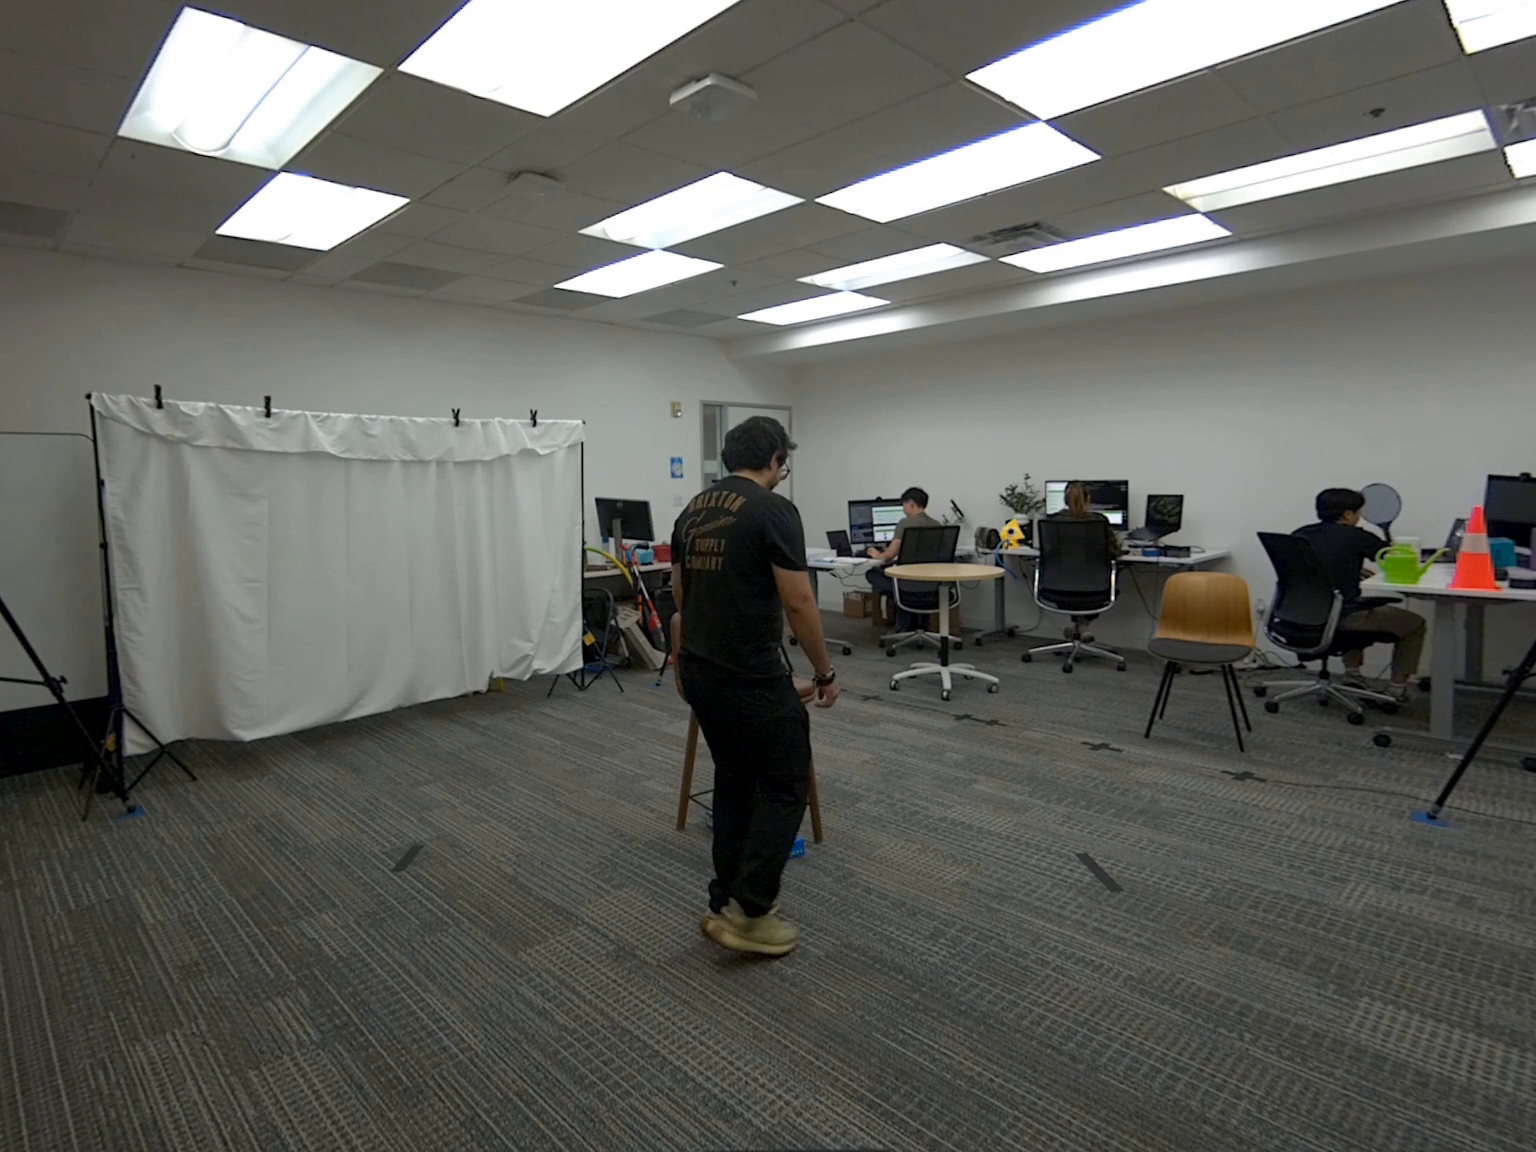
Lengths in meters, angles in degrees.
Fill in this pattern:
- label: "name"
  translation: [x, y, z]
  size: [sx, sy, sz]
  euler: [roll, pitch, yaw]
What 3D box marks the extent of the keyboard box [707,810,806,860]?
- label: "keyboard box"
  translation: [-0.053, 0.998, 3.319]
  size: [0.172, 0.059, 0.449]
  euler: [-4, 7, -33]
